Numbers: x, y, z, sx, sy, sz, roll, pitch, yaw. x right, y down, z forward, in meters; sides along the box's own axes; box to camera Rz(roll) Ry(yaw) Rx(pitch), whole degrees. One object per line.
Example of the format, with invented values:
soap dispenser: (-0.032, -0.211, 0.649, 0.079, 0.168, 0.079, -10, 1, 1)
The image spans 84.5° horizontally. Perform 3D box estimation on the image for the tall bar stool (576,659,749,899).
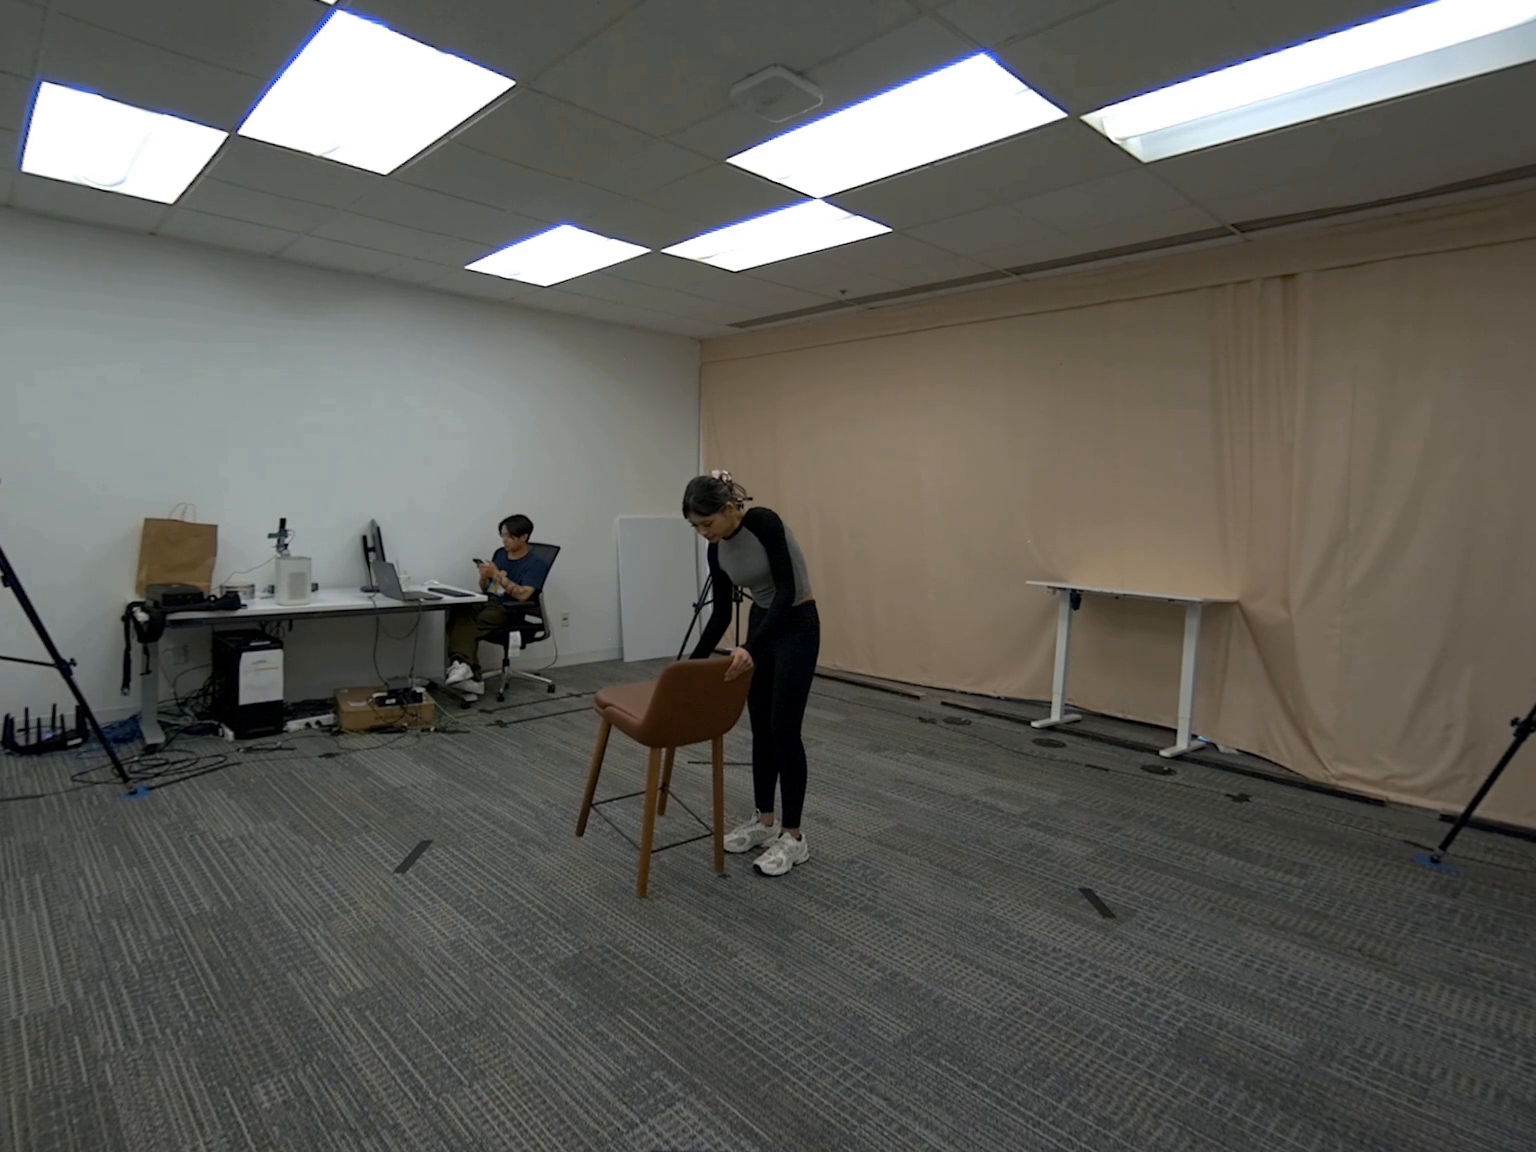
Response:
tall bar stool: (-0.390, 0.635, 3.104, 0.446, 0.883, 0.482, -1, 17, -41)
